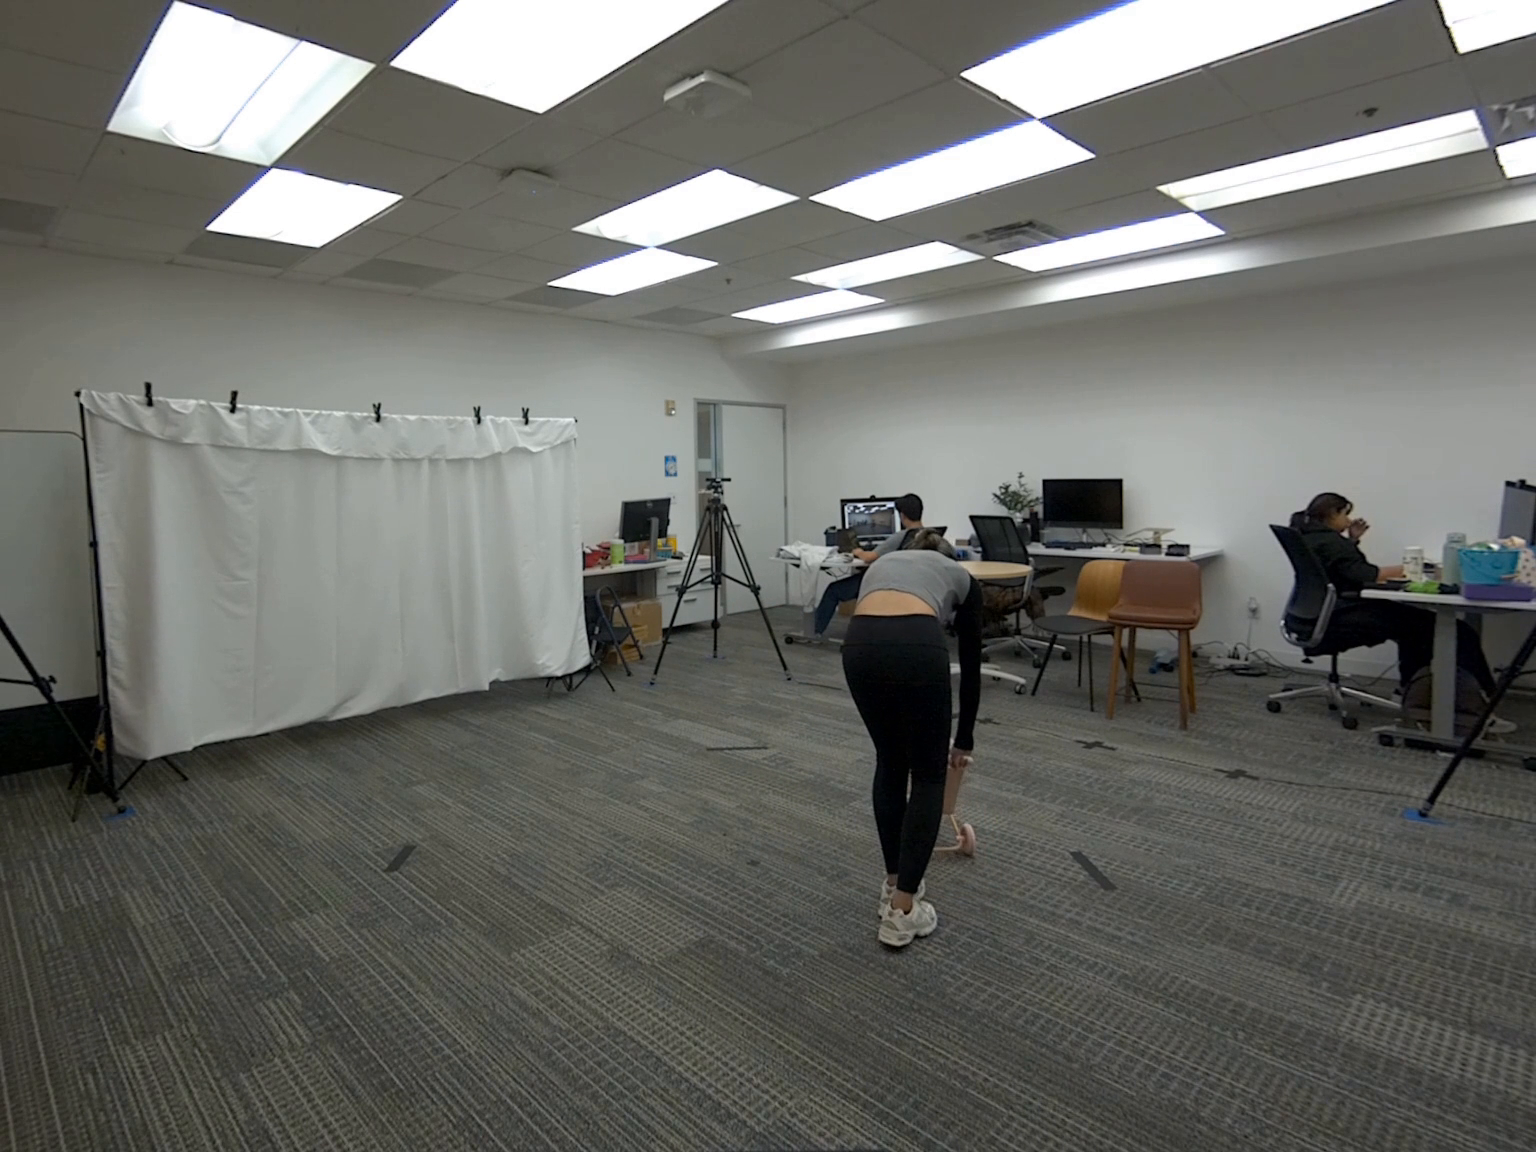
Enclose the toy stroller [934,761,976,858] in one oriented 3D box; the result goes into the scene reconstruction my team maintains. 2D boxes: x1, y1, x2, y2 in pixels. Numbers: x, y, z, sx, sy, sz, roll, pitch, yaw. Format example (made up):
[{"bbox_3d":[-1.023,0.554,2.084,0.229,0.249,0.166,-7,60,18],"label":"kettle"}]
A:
[{"bbox_3d":[0.611,0.798,3.192,0.281,0.526,0.347,0,20,-2],"label":"toy stroller"}]
